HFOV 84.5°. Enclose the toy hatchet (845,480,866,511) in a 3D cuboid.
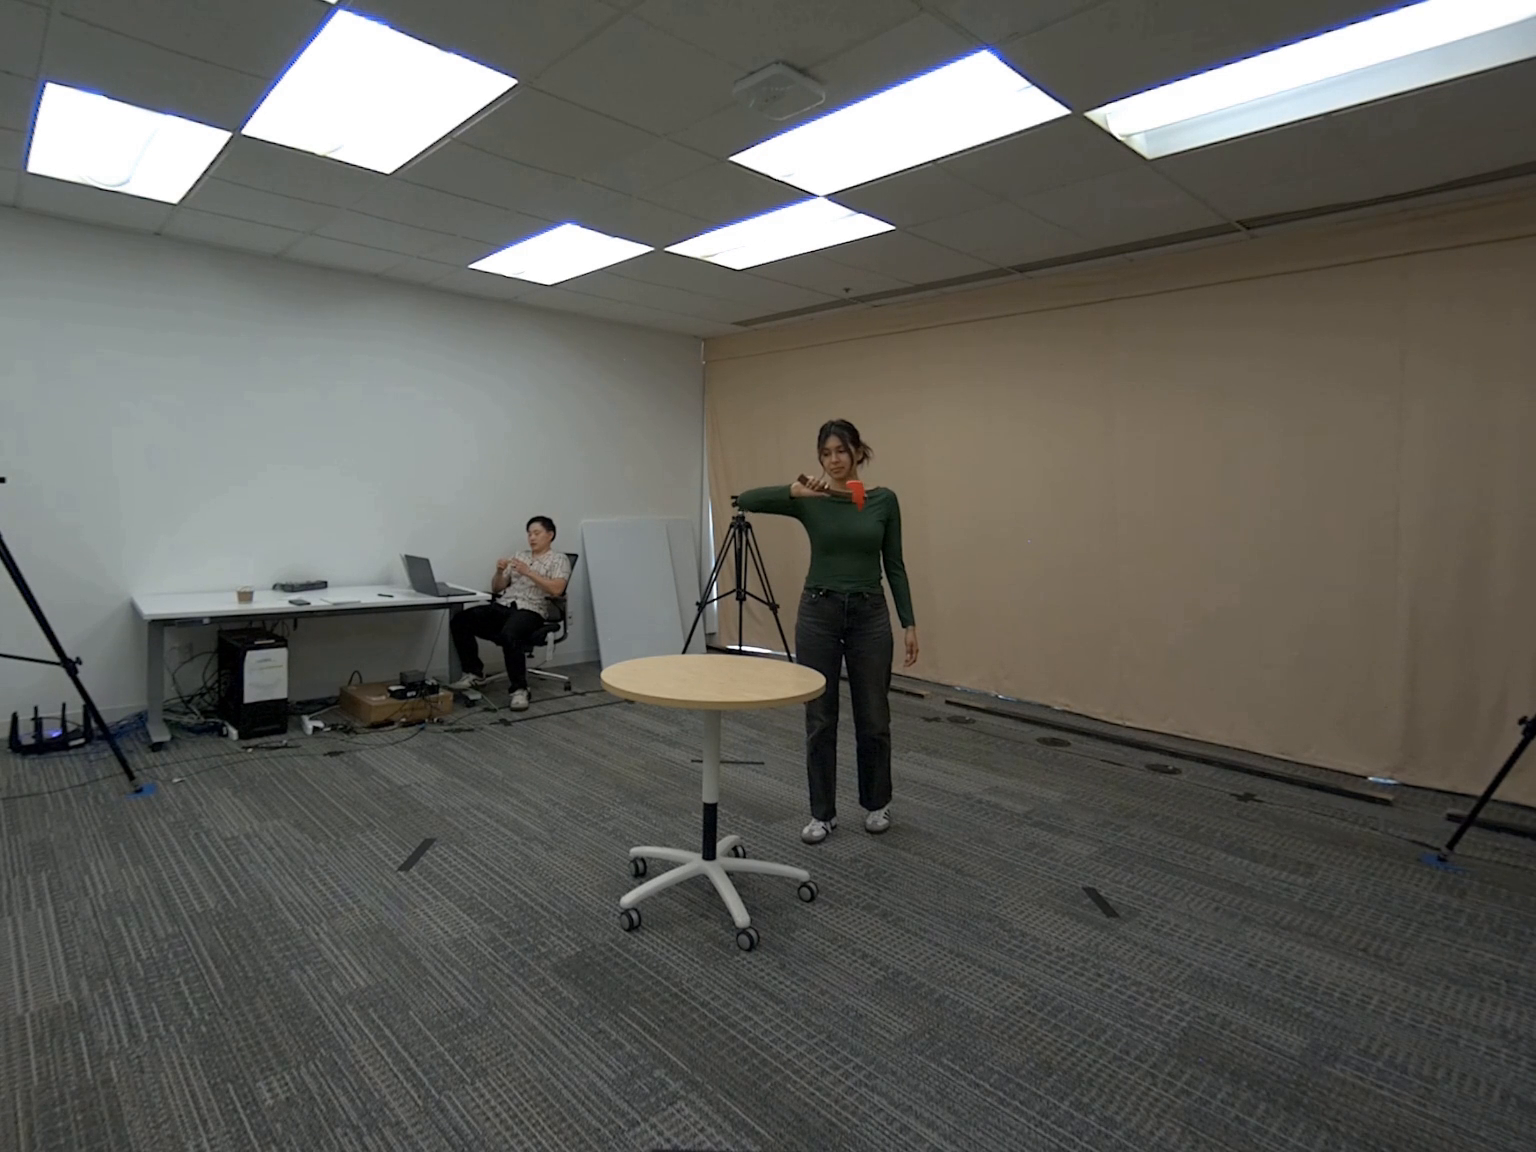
[{"bbox_3d":[0.227,-0.334,3.127,0.272,0.129,0.030,22,49,6],"label":"toy hatchet"}]
